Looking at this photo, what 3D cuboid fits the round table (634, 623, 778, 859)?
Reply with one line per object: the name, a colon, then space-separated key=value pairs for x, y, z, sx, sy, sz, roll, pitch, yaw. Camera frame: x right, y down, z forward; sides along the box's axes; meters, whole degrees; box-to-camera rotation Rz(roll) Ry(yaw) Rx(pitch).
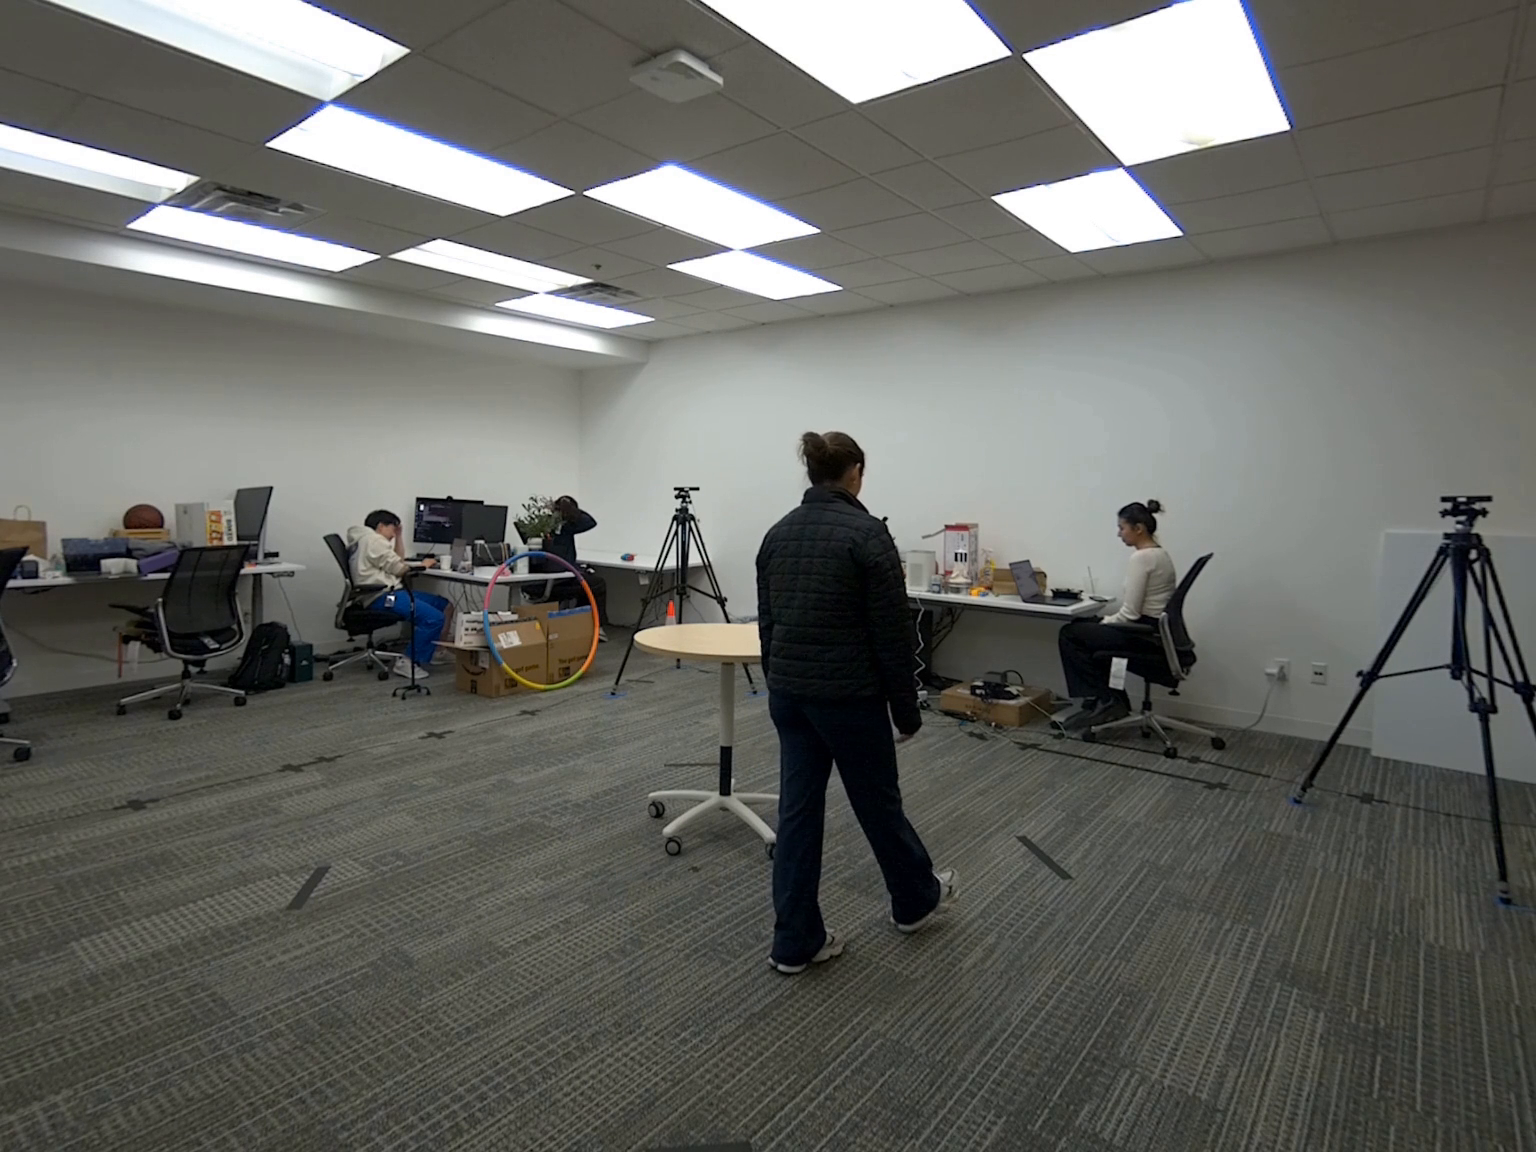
round table: x=-0.168 y=0.635 z=3.471 sx=0.784 sy=0.784 sz=0.788 roll=1 pitch=3 yaw=-2
